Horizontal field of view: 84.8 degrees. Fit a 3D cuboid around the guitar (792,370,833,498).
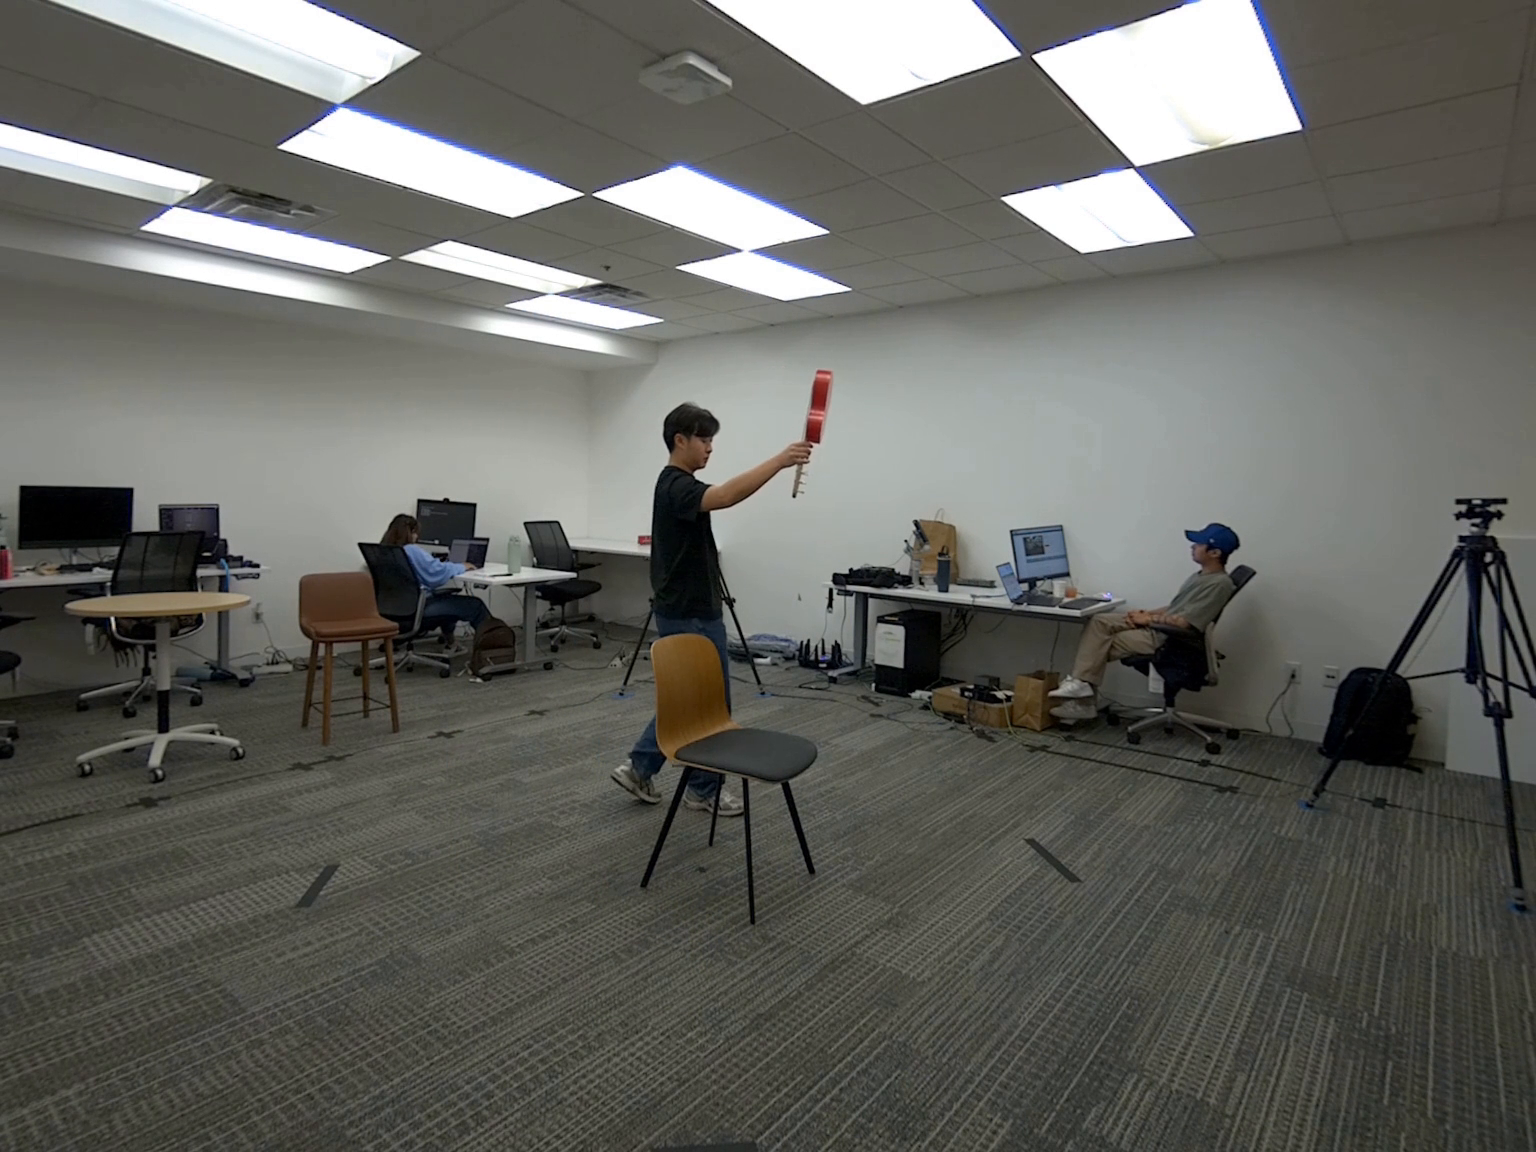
[{"bbox_3d":[0.163,-0.546,3.297,0.071,0.496,0.192,10,4,4],"label":"guitar"}]
